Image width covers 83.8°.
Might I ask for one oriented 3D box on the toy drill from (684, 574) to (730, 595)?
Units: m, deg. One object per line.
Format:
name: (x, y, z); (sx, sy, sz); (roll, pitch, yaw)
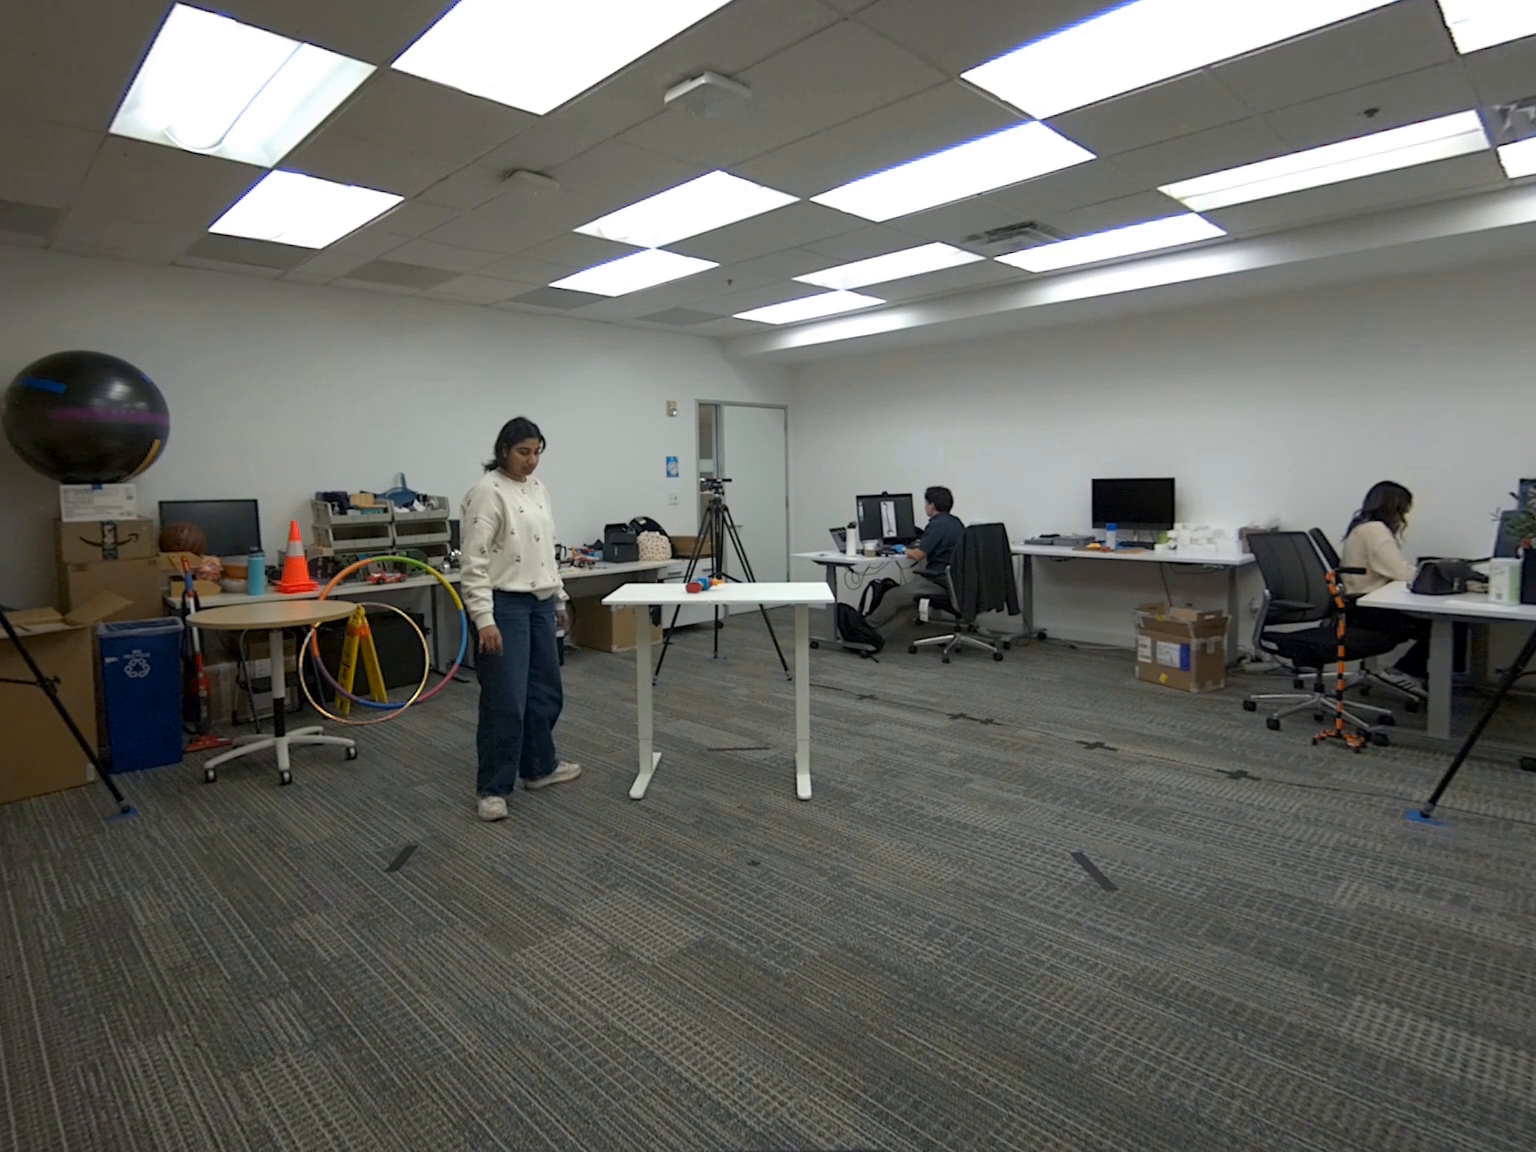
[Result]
toy drill: (-0.283, 0.035, 3.943); (0.172, 0.061, 0.145); (-4, 5, 13)
